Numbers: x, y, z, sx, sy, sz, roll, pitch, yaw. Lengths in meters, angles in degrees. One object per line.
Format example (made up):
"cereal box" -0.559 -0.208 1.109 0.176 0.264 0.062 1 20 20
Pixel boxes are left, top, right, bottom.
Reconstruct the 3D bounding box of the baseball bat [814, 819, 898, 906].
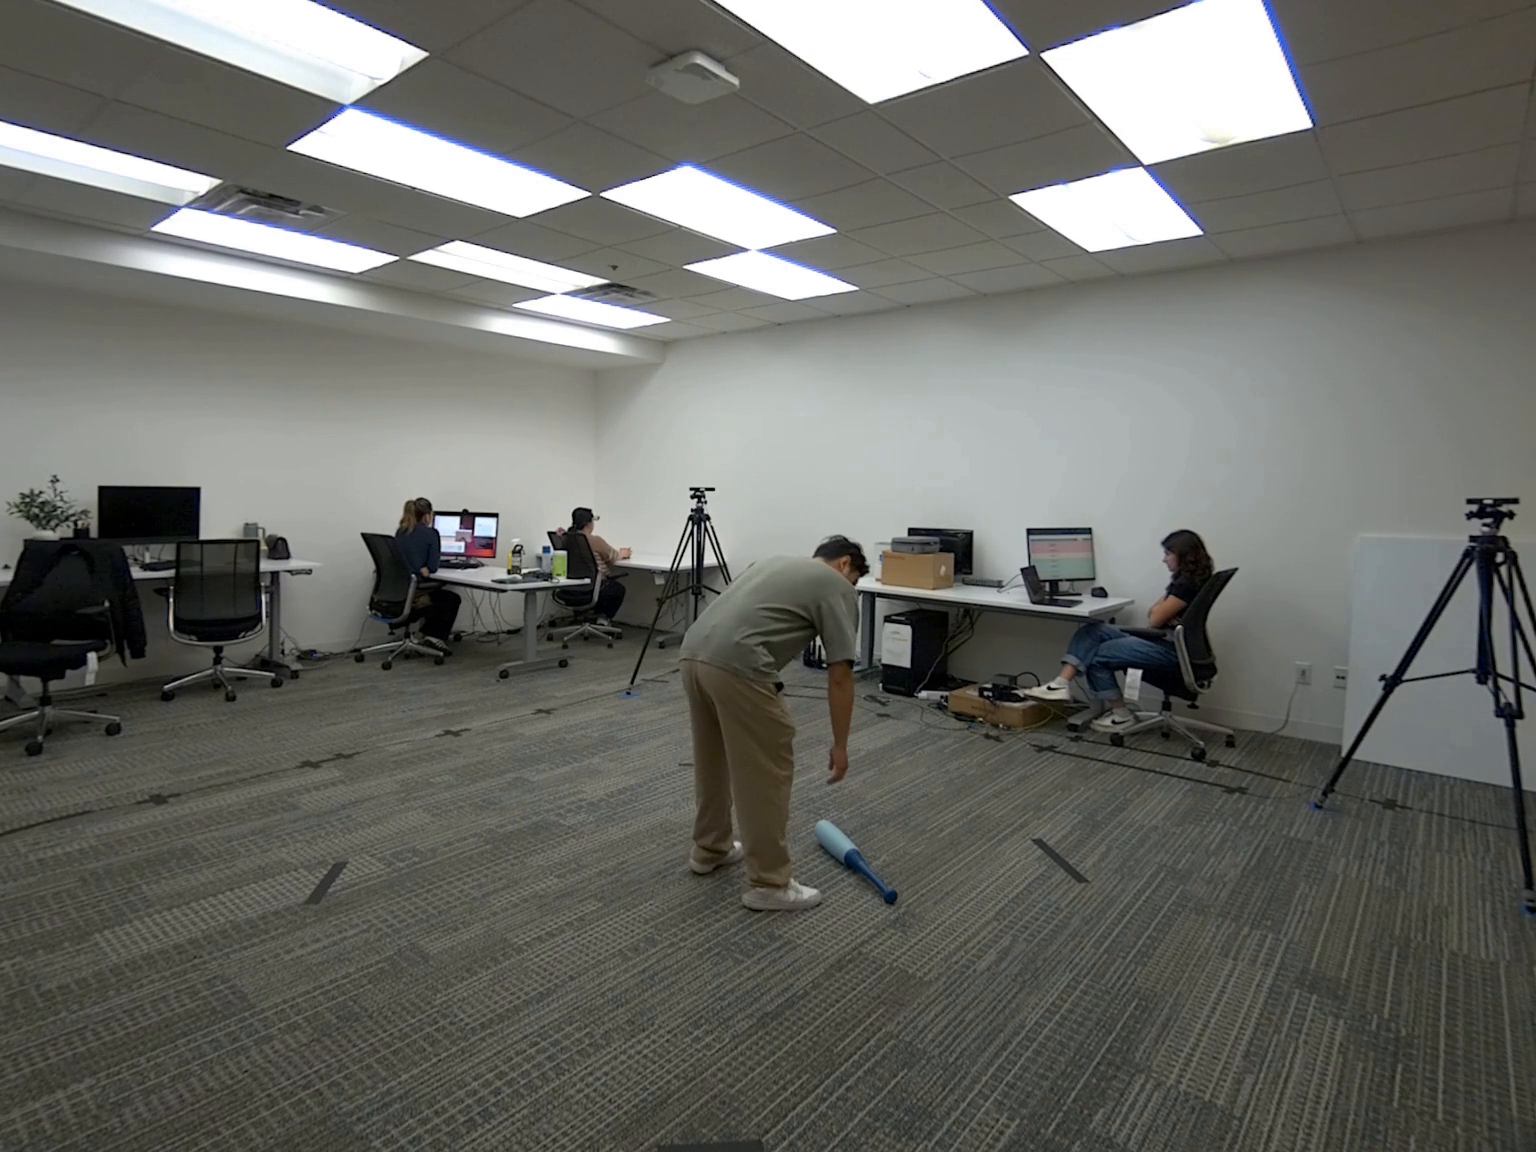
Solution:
"baseball bat" 0.309 1.039 3.119 0.087 0.088 0.557 -1 7 -22
